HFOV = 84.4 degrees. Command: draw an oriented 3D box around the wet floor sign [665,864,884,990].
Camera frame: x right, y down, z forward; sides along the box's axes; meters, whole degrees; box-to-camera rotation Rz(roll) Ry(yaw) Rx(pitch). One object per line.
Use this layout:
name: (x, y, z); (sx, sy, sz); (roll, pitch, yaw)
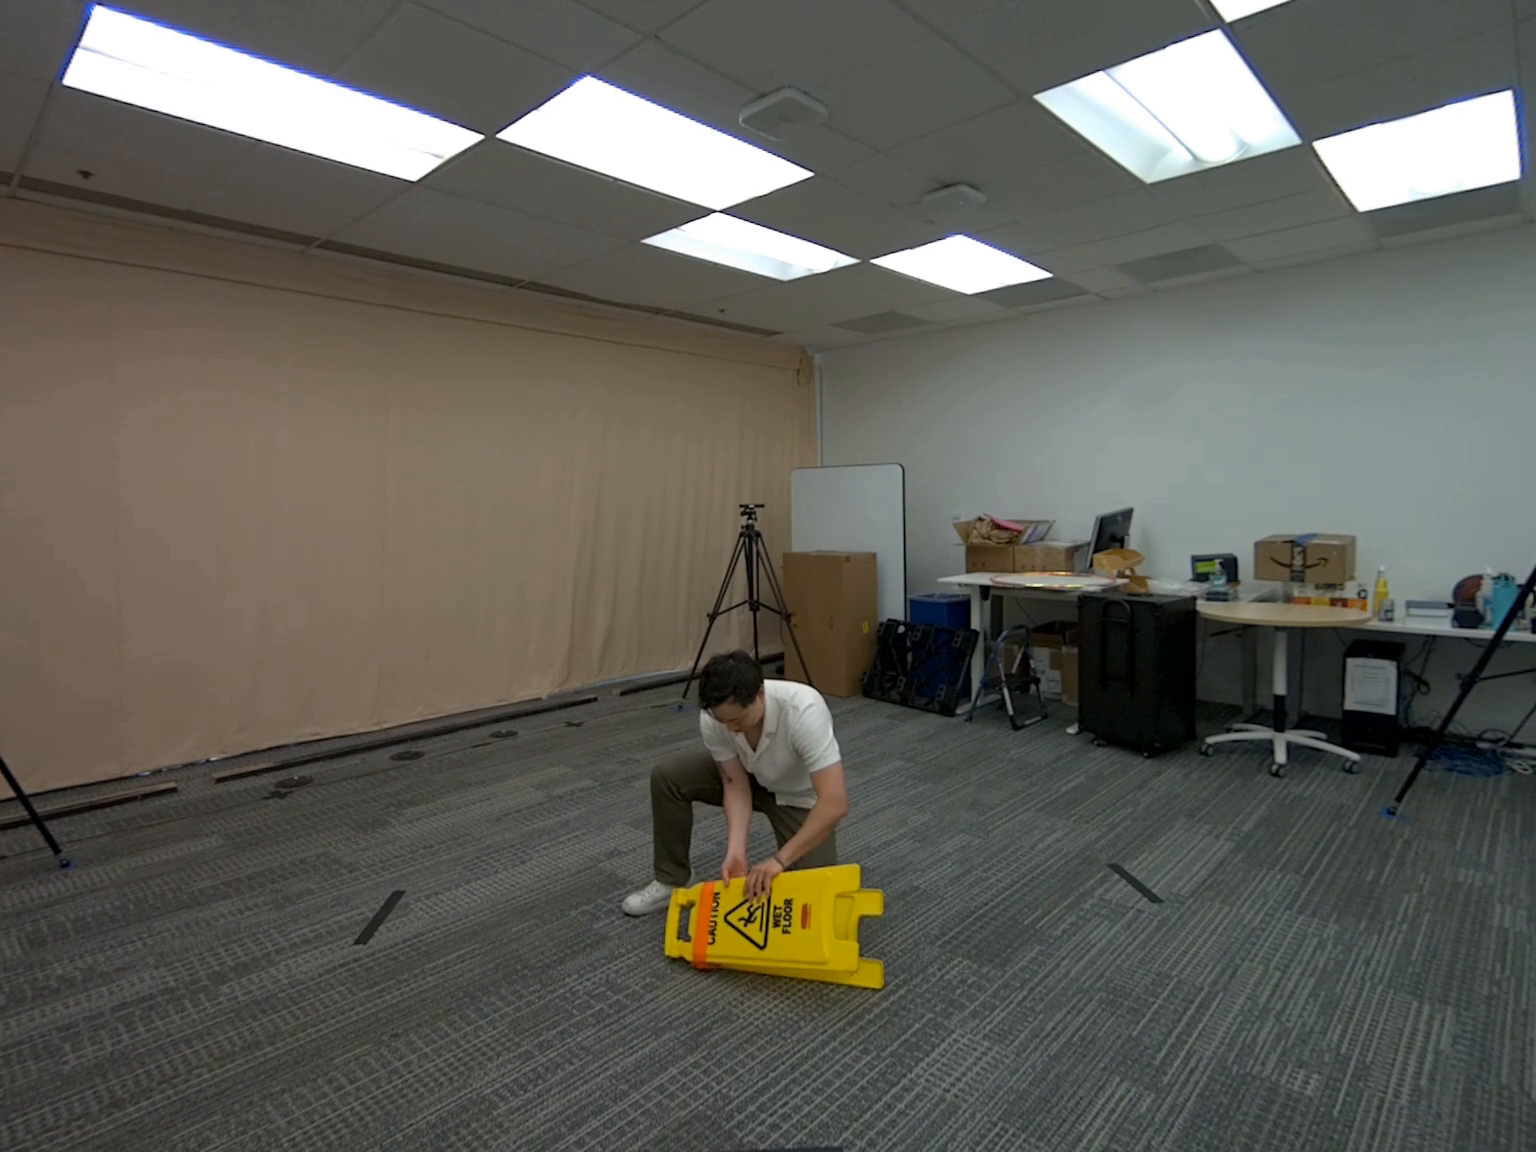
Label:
wet floor sign: (-0.003, 1.040, 2.513); (0.660, 0.286, 0.280); (-8, -37, 23)
